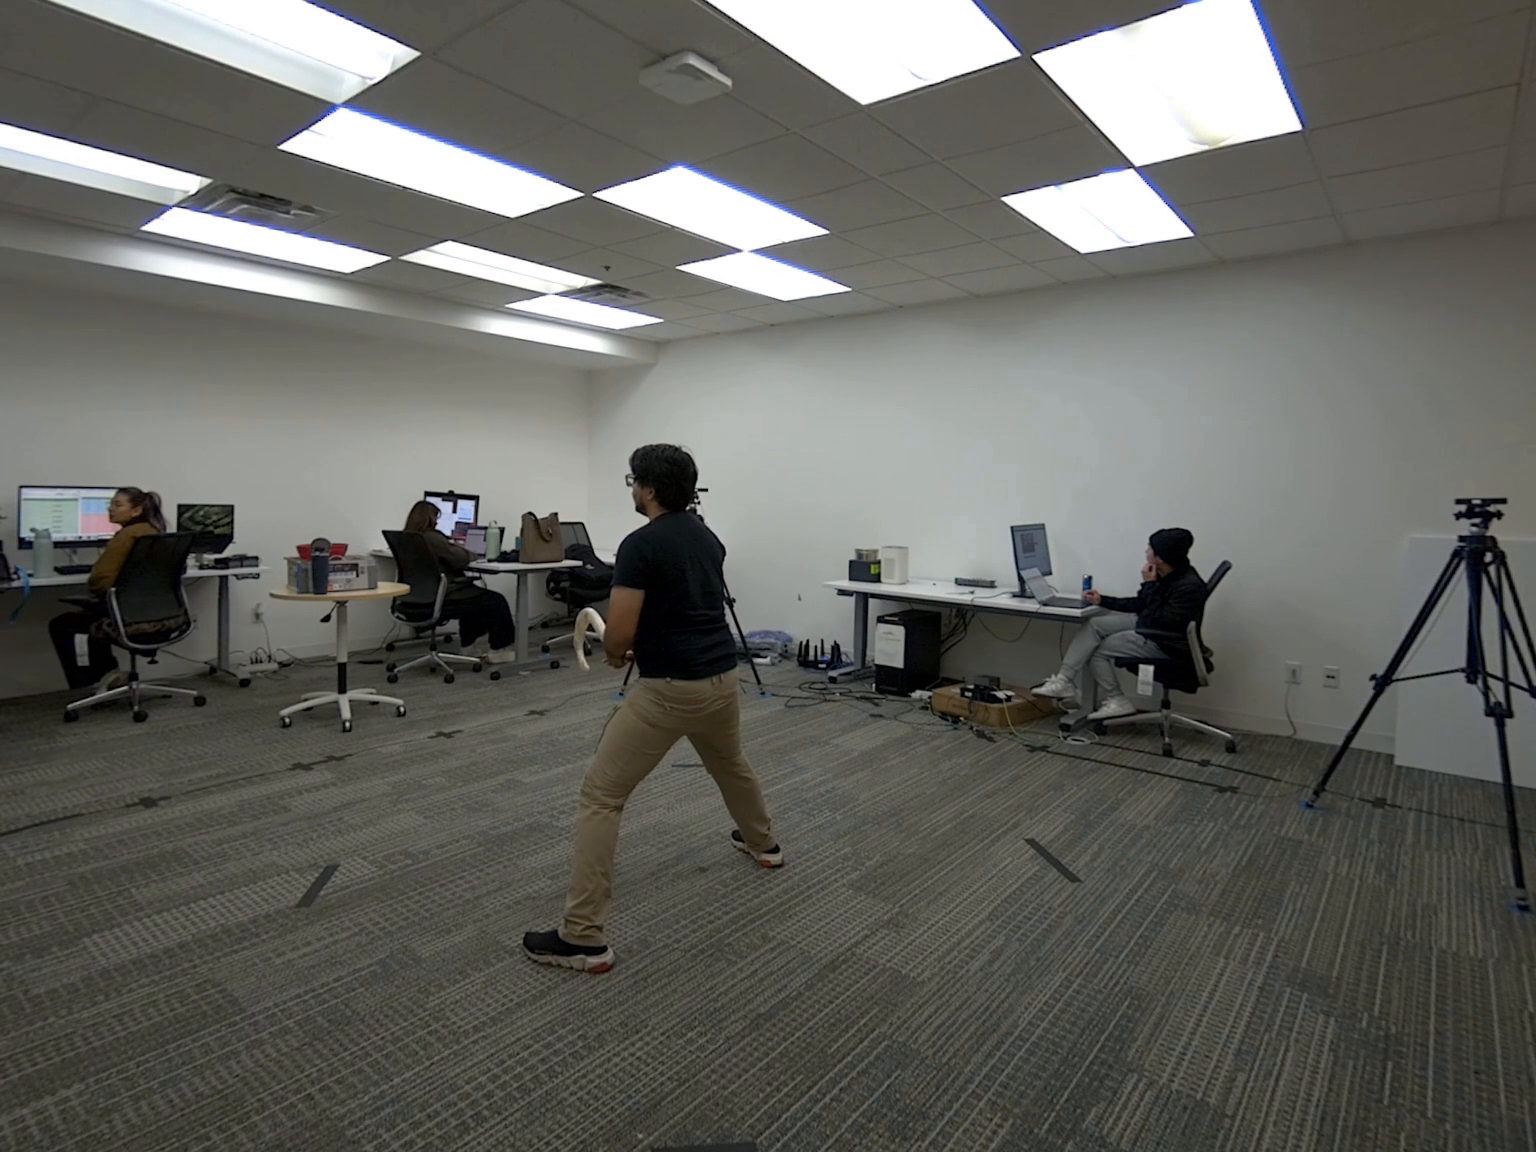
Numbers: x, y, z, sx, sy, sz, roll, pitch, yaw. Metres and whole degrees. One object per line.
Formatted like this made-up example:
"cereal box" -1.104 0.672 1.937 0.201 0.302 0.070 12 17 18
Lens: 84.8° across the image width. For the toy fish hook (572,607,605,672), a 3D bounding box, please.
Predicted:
"toy fish hook" -0.617 0.270 3.079 0.047 0.222 0.526 3 14 -32
